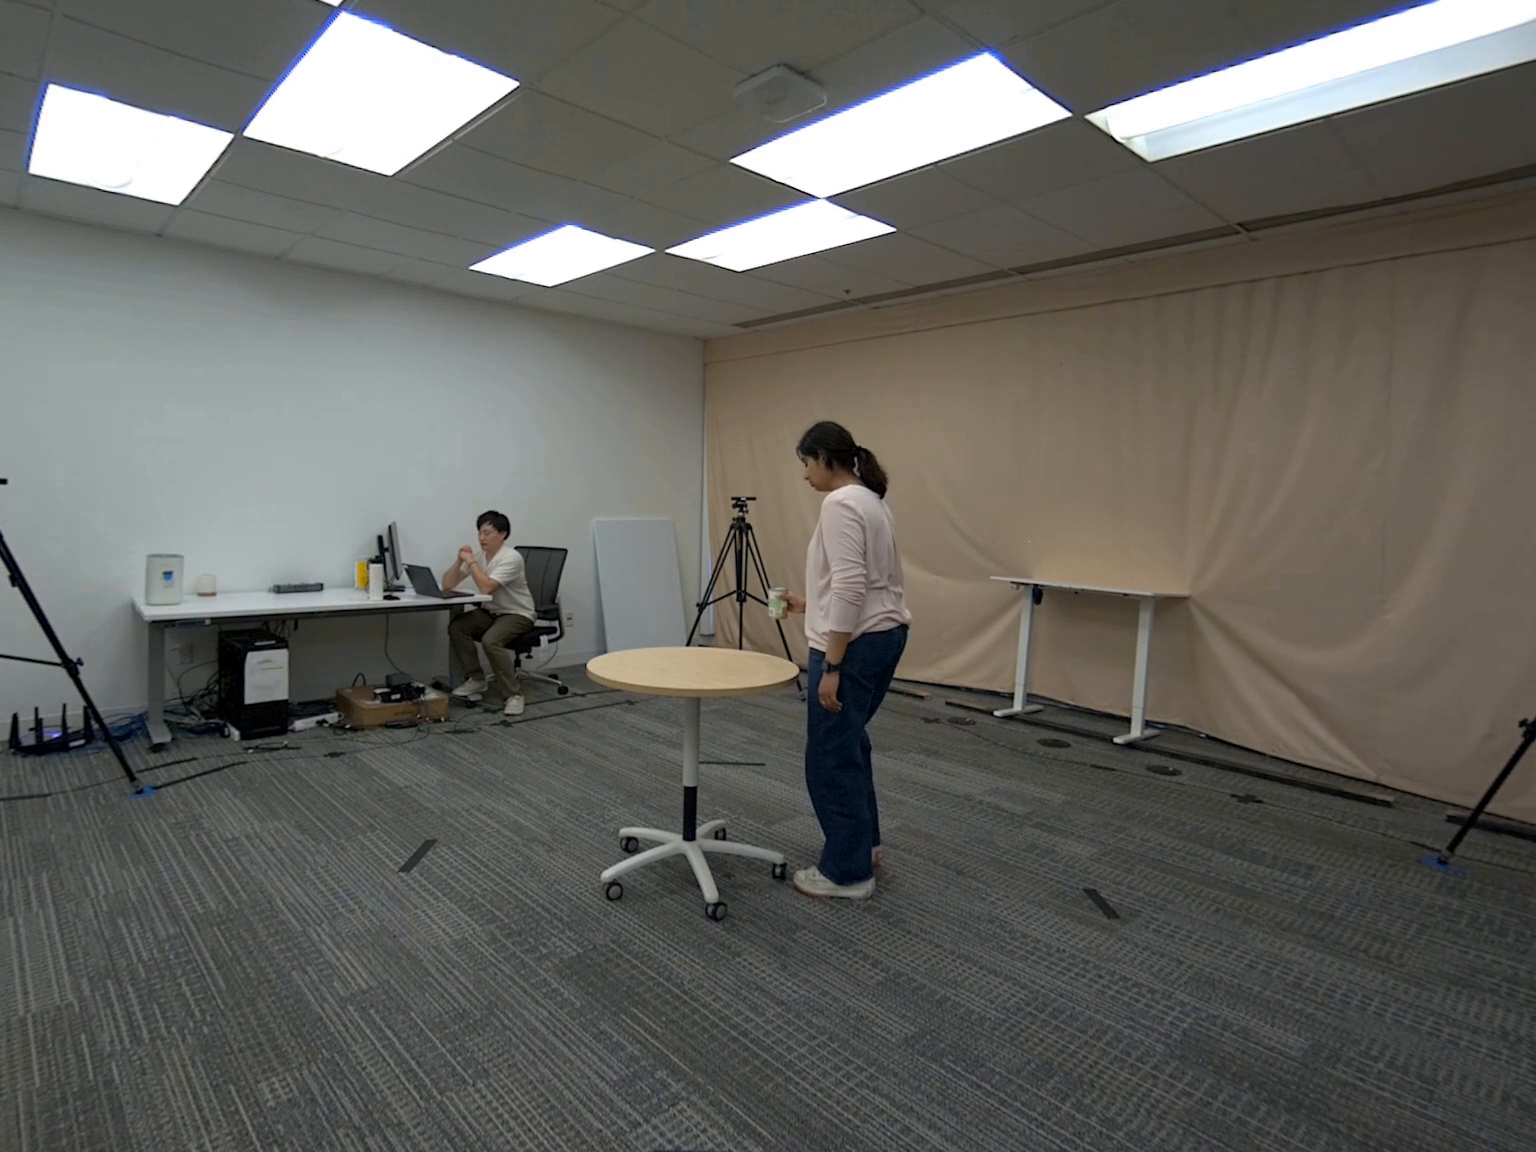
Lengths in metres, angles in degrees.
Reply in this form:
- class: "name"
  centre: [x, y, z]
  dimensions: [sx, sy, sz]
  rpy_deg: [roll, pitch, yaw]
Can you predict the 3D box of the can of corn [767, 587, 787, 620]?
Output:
- class: "can of corn"
  centre: [0.032, 0.106, 3.253]
  dimensions: [0.074, 0.111, 0.074]
  rpy_deg: [2, 3, -2]
